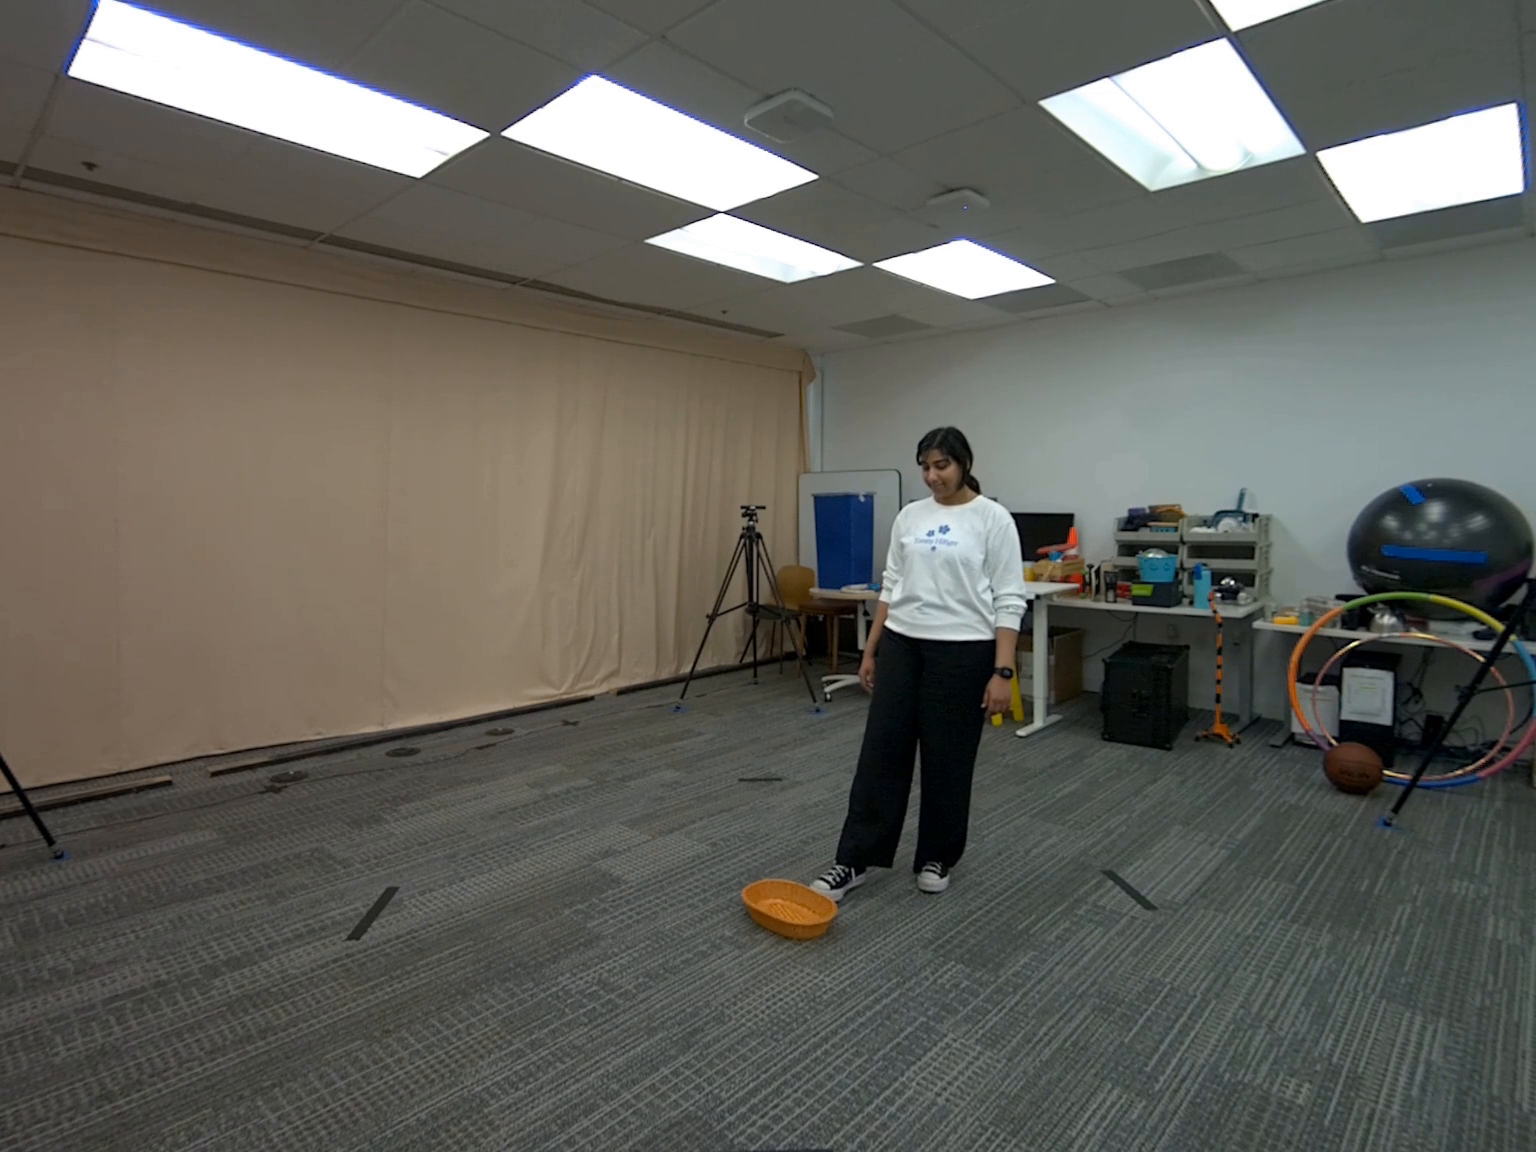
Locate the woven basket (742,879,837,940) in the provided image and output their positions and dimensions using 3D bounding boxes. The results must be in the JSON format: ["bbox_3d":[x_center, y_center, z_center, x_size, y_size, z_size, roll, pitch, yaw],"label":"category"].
[{"bbox_3d":[0.081,1.114,2.831,0.244,0.073,0.362,-3,6,-43],"label":"woven basket"}]
